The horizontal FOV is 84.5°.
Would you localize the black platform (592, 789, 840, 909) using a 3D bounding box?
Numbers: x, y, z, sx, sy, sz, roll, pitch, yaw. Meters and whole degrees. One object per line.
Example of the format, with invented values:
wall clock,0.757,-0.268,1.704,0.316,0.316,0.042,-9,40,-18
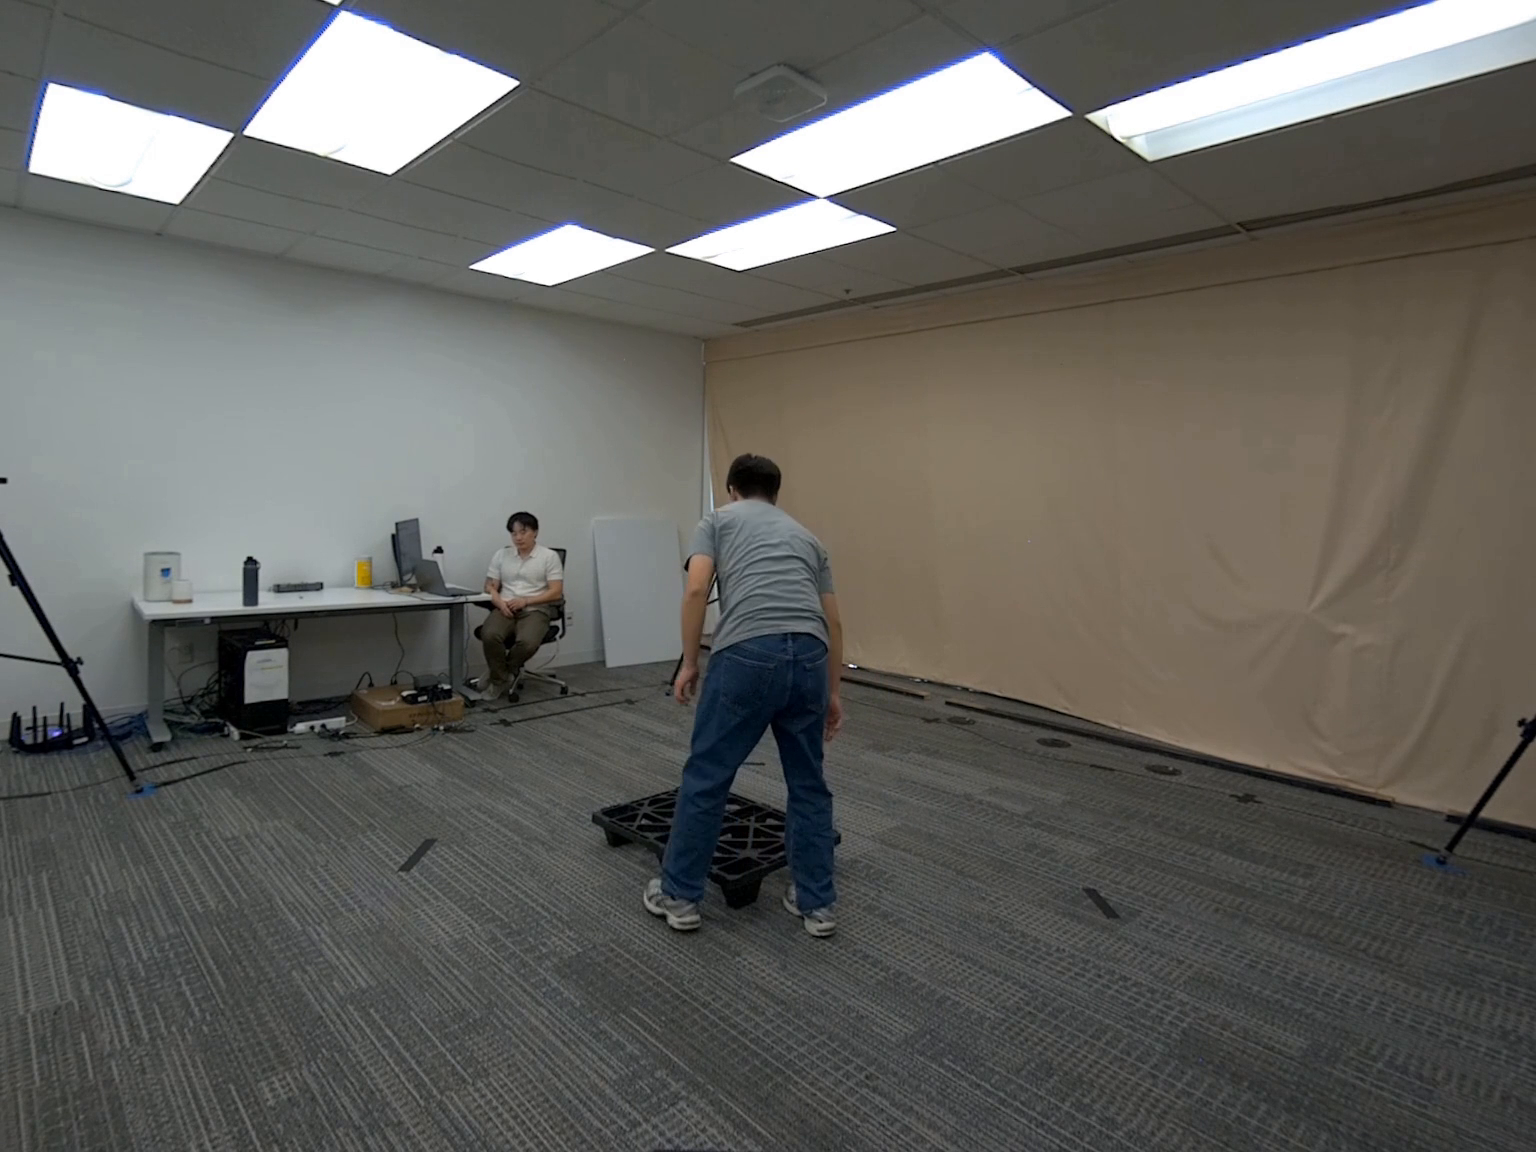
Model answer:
black platform,-0.217,1.023,3.268,0.826,0.143,0.591,6,6,44
